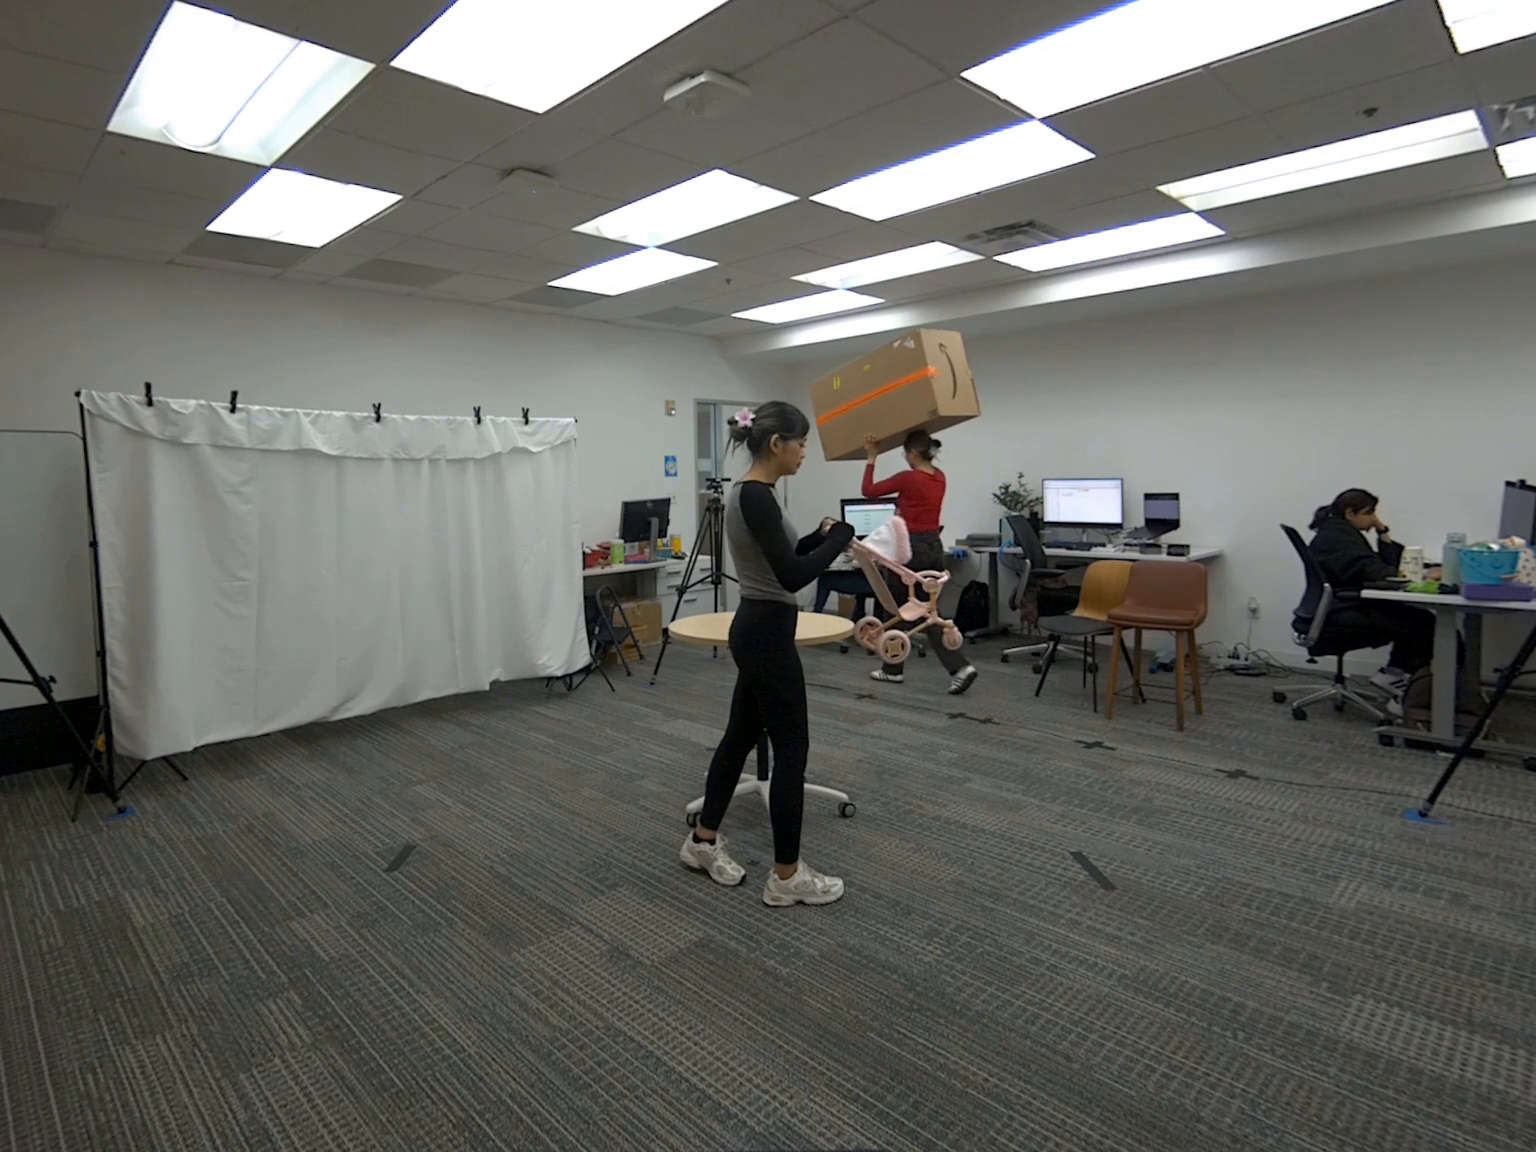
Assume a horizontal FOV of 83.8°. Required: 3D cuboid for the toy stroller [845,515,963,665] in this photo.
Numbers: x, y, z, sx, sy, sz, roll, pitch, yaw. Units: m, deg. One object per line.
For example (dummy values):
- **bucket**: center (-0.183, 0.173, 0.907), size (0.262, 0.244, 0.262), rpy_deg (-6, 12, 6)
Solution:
- **toy stroller**: center (0.443, 0.039, 2.856), size (0.340, 0.531, 0.284), rpy_deg (-17, 7, -4)
